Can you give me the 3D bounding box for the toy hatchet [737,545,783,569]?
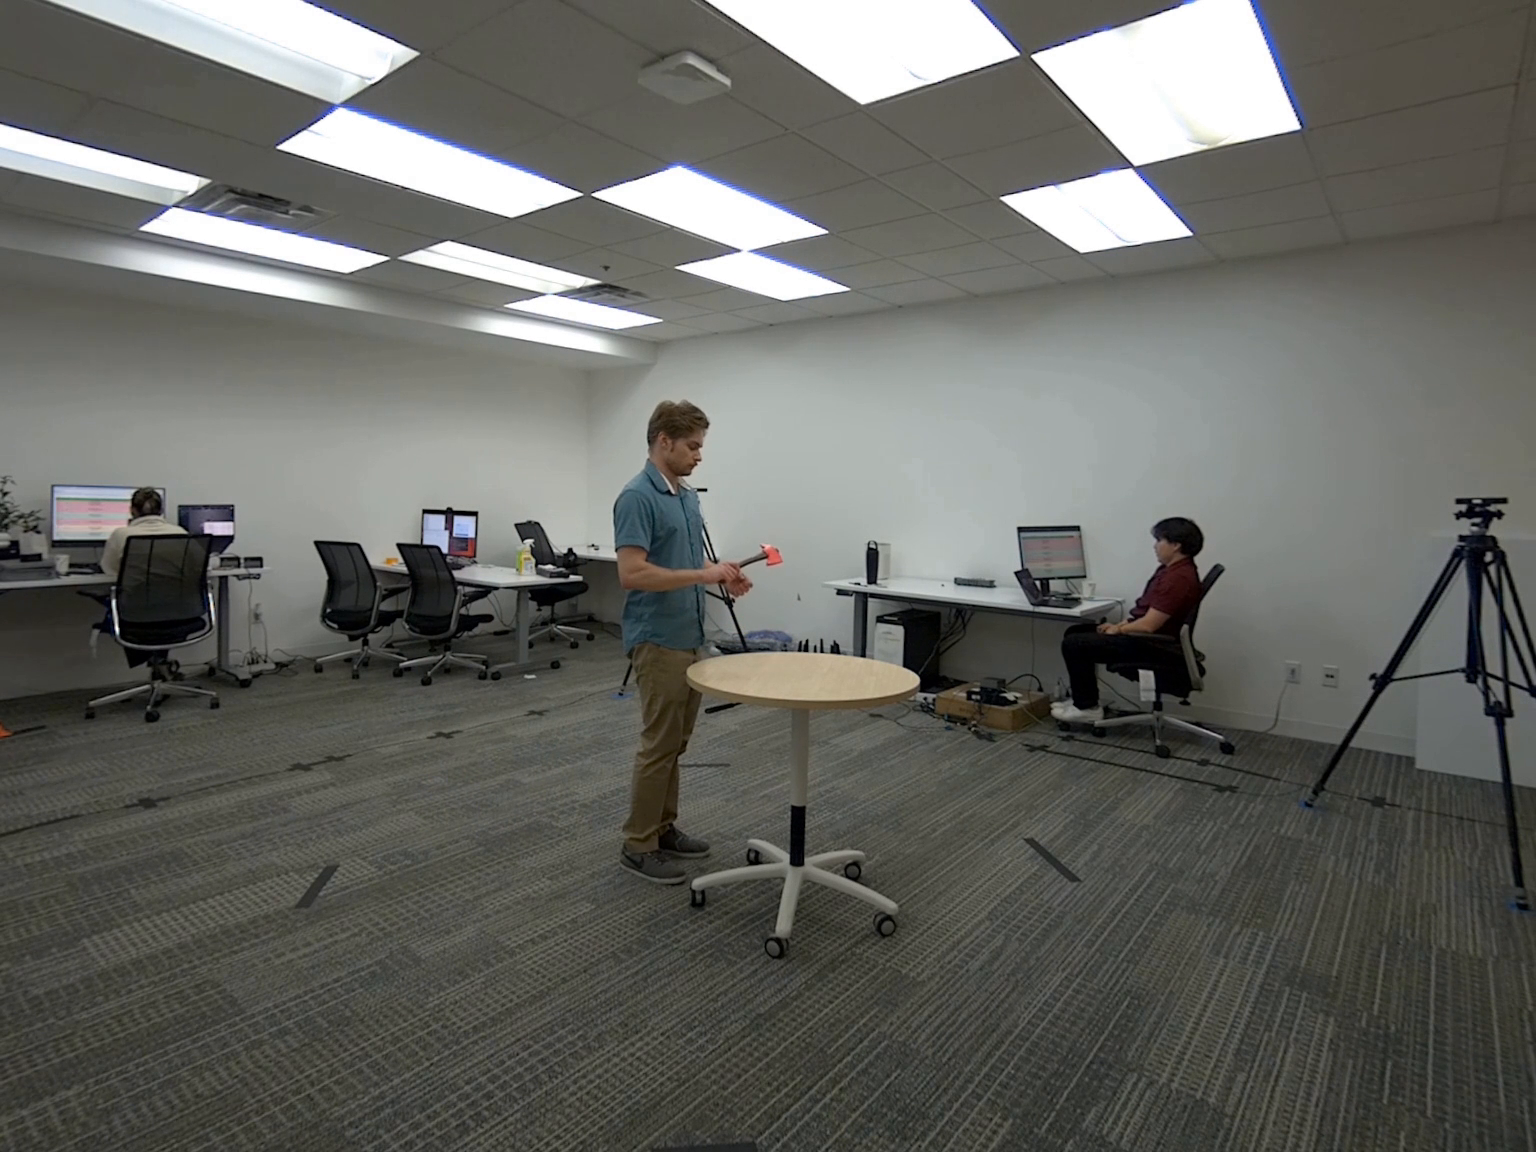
[{"bbox_3d":[-0.071,-0.028,3.003,0.267,0.029,0.136,-34,46,-32],"label":"toy hatchet"}]
